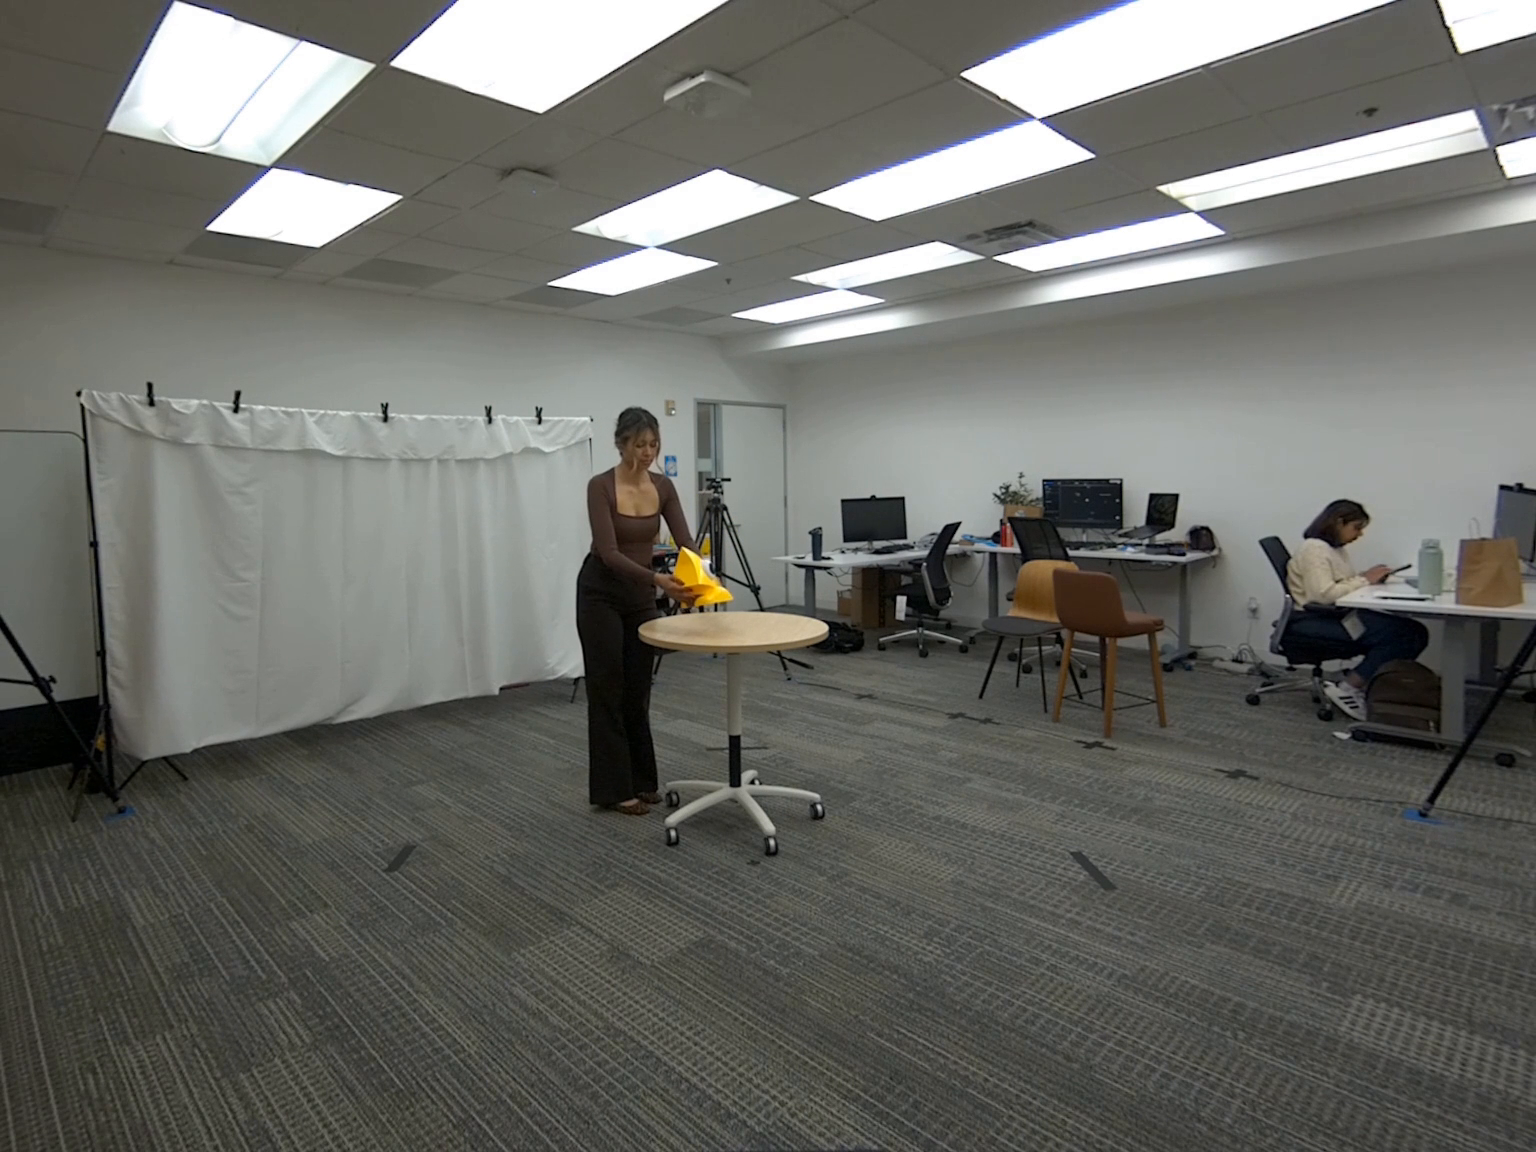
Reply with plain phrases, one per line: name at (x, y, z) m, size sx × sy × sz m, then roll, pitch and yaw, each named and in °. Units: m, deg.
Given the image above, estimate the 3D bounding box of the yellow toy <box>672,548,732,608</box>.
yellow toy at (-0.267, -0.004, 3.273) m, size 0.188 × 0.232 × 0.209 m, roll -6°, pitch -6°, yaw -41°
